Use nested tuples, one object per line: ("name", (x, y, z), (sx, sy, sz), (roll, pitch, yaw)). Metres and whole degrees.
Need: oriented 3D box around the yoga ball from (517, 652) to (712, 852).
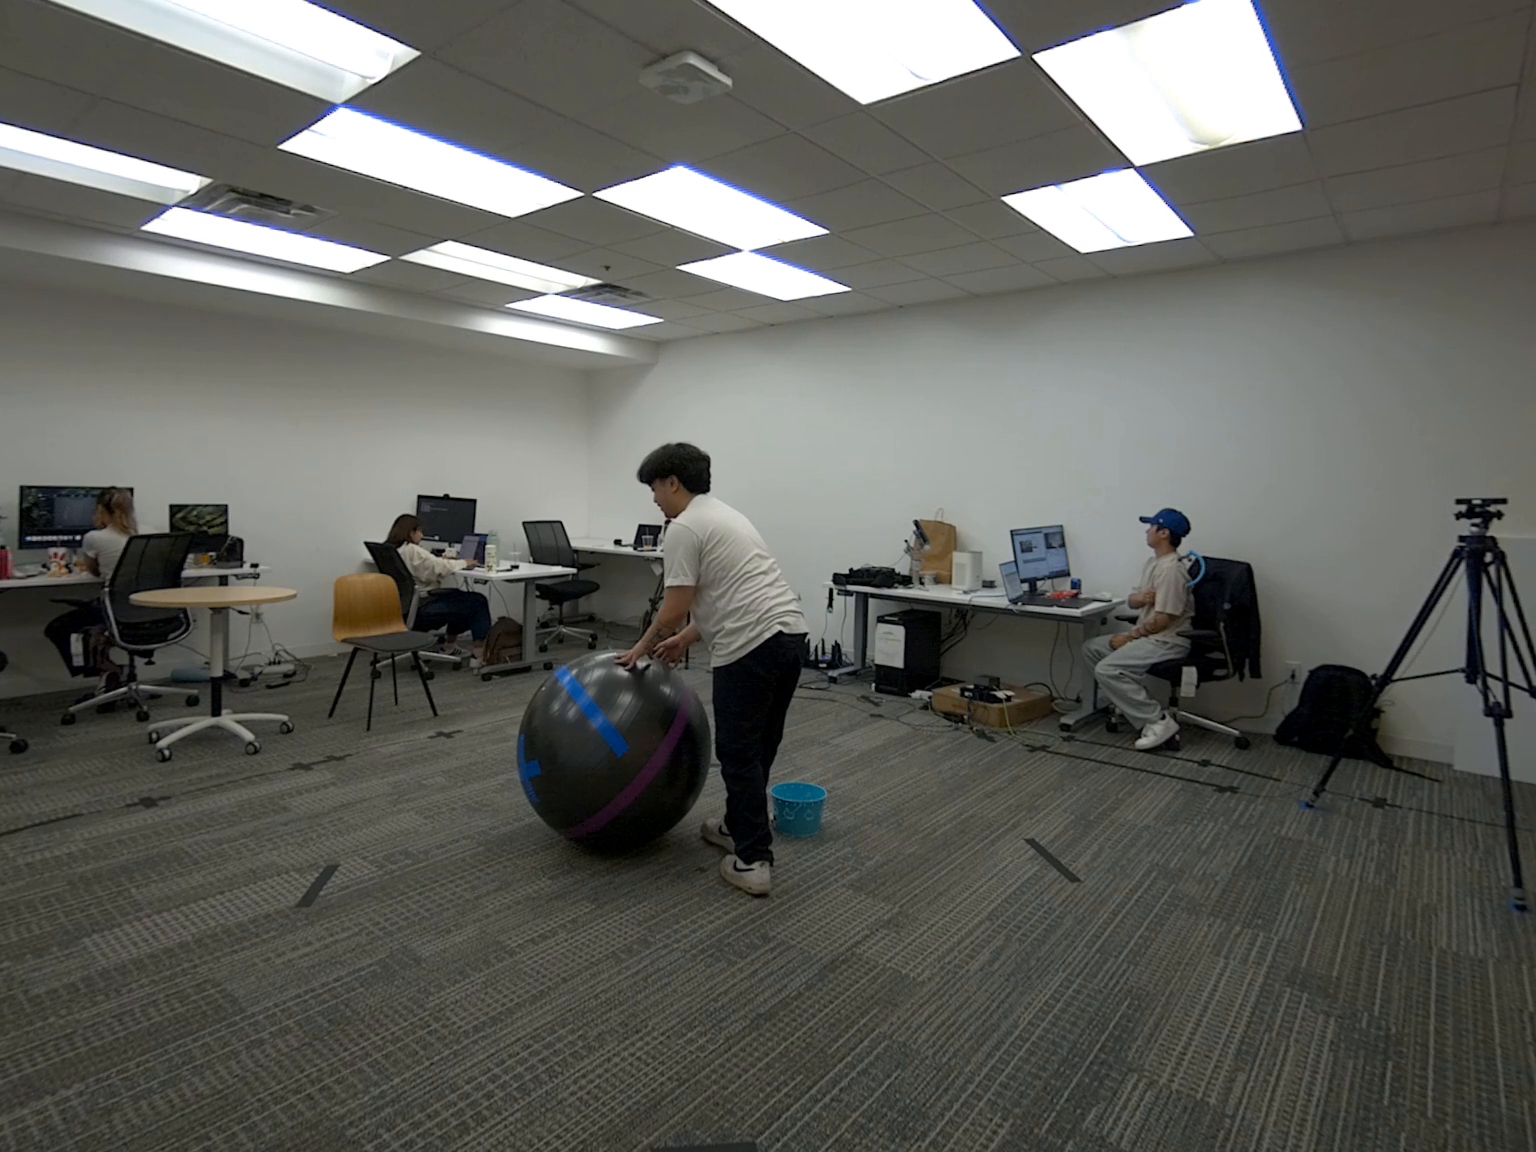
("yoga ball", (-0.620, 0.677, 3.357), (0.757, 0.755, 0.762), (1, 4, -2))
